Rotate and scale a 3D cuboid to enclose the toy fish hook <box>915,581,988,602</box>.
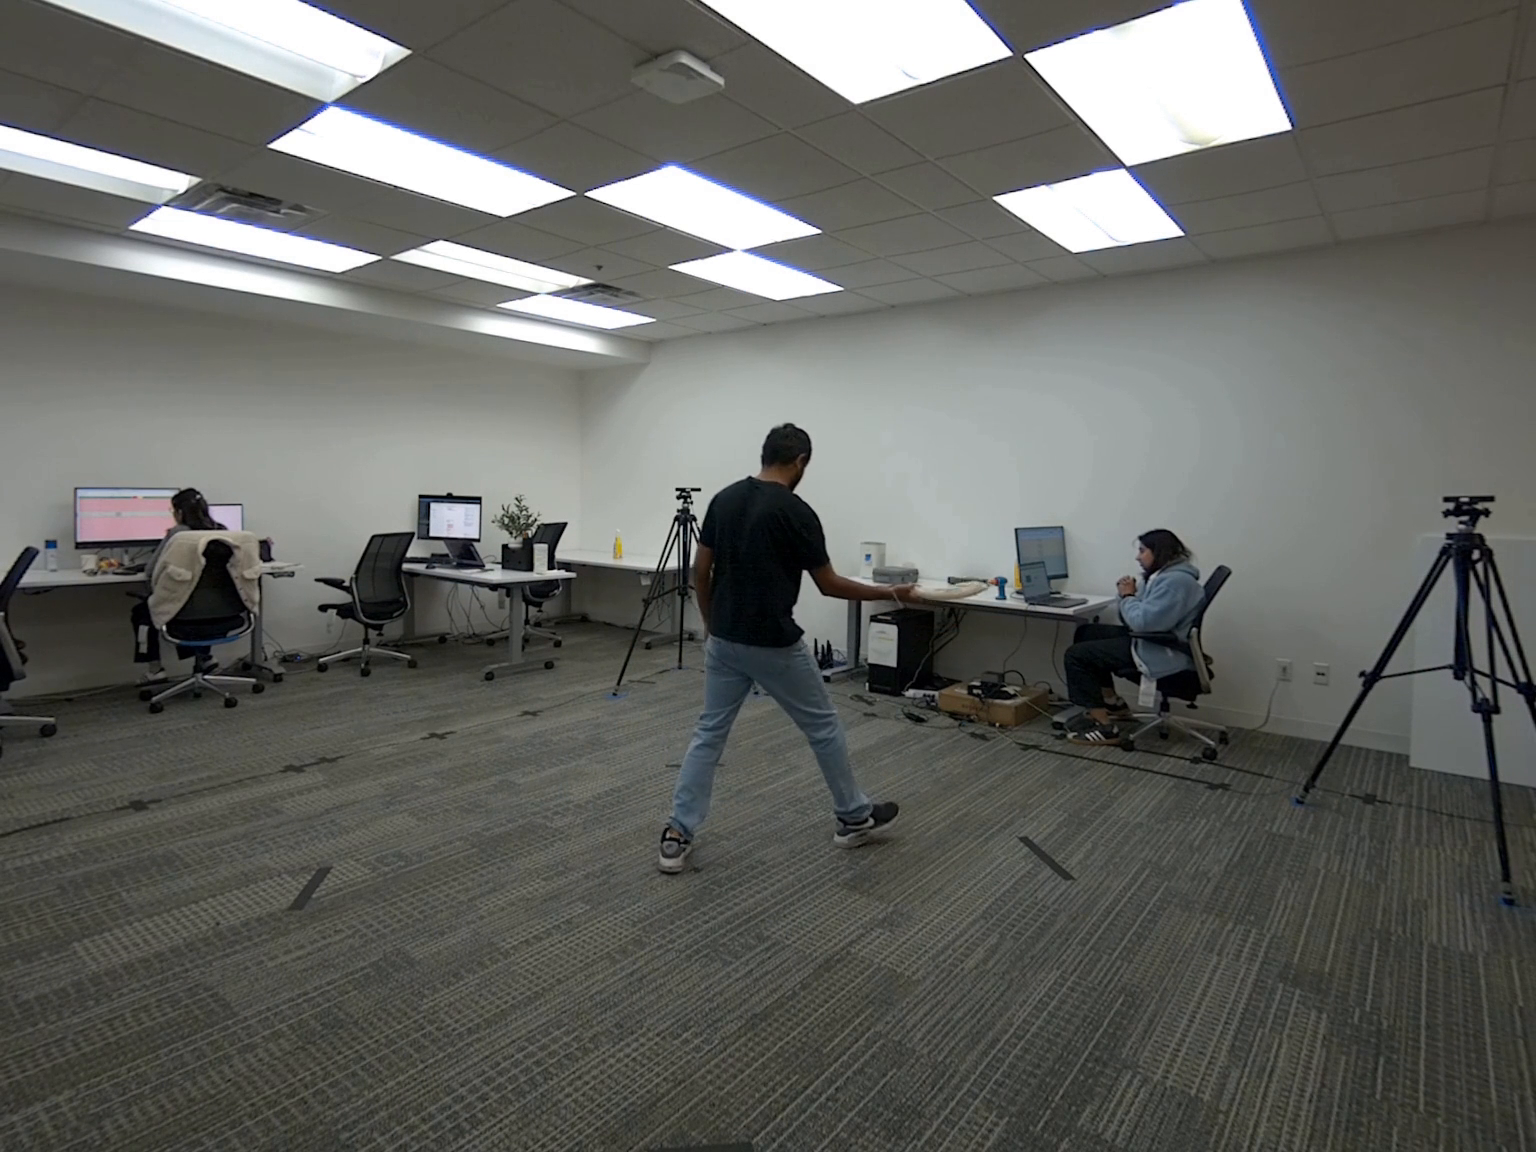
[{"bbox_3d":[0.614,0.054,3.287,0.219,0.048,0.521,-9,7,-29],"label":"toy fish hook"}]
